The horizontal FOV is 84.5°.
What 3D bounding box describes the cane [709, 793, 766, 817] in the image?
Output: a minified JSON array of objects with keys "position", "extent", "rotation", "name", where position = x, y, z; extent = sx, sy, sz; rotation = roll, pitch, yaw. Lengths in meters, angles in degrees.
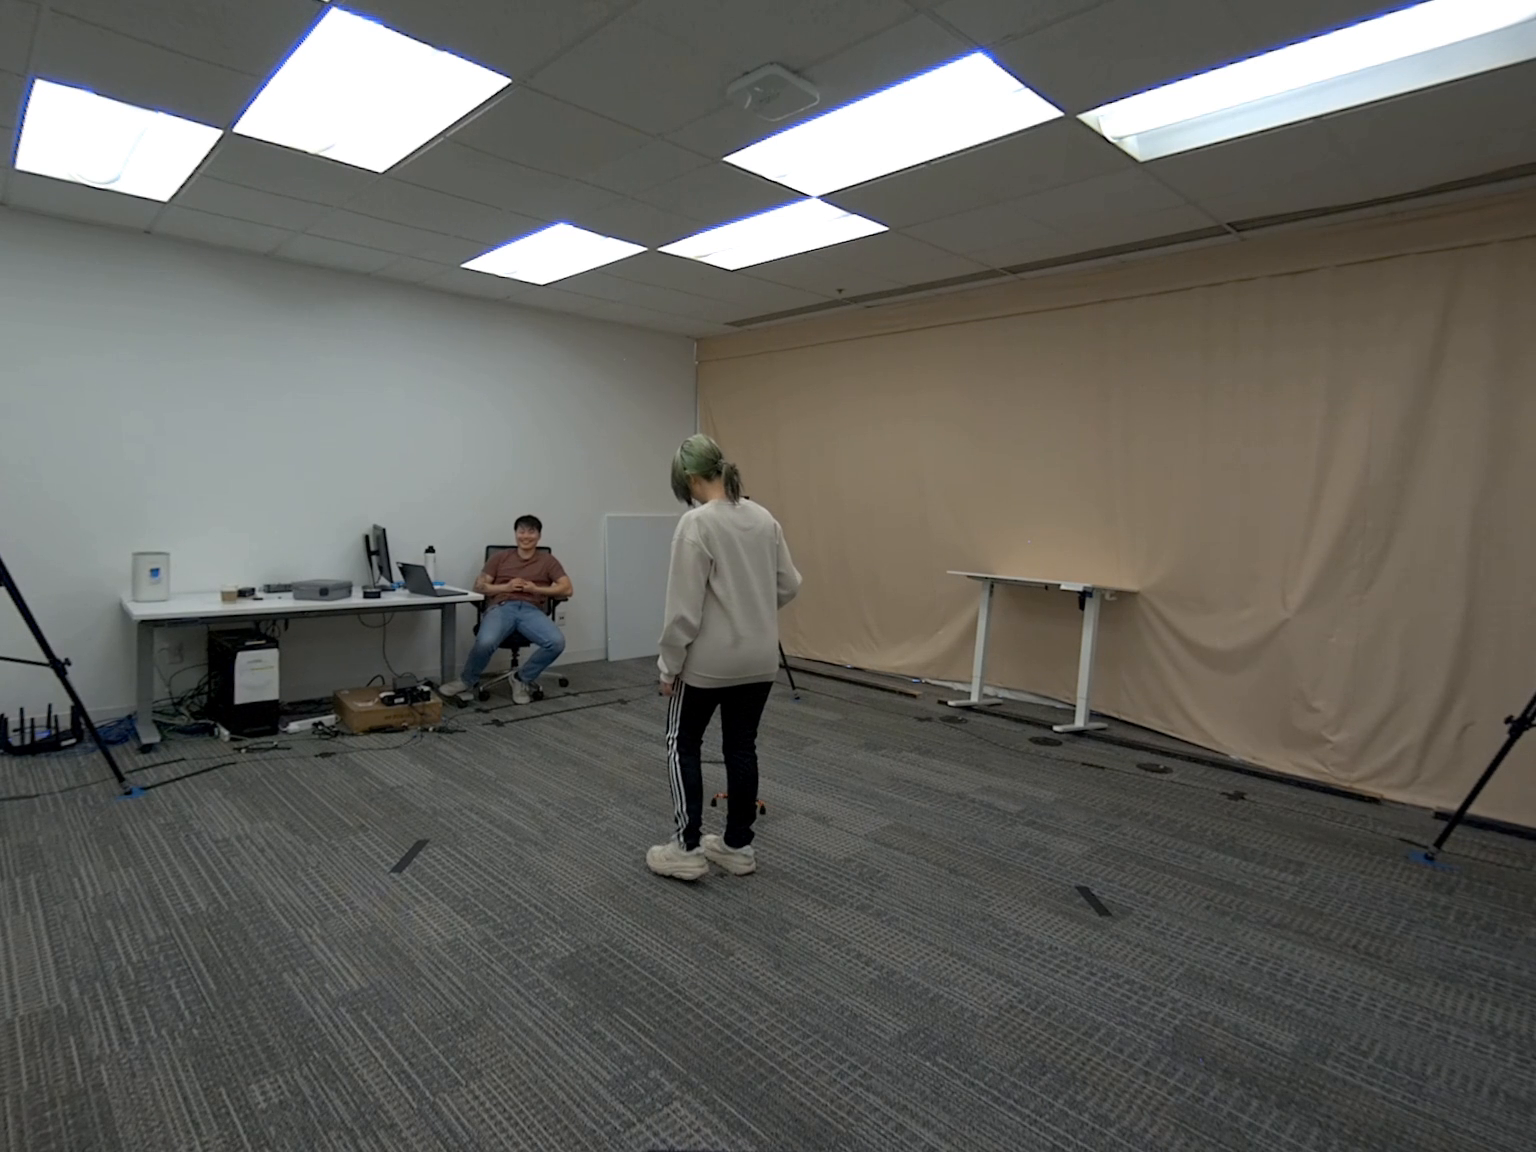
[{"position":[-0.103,0.561,3.535],"extent":[0.148,0.904,0.212],"rotation":[-2,8,-45],"name":"cane"}]
